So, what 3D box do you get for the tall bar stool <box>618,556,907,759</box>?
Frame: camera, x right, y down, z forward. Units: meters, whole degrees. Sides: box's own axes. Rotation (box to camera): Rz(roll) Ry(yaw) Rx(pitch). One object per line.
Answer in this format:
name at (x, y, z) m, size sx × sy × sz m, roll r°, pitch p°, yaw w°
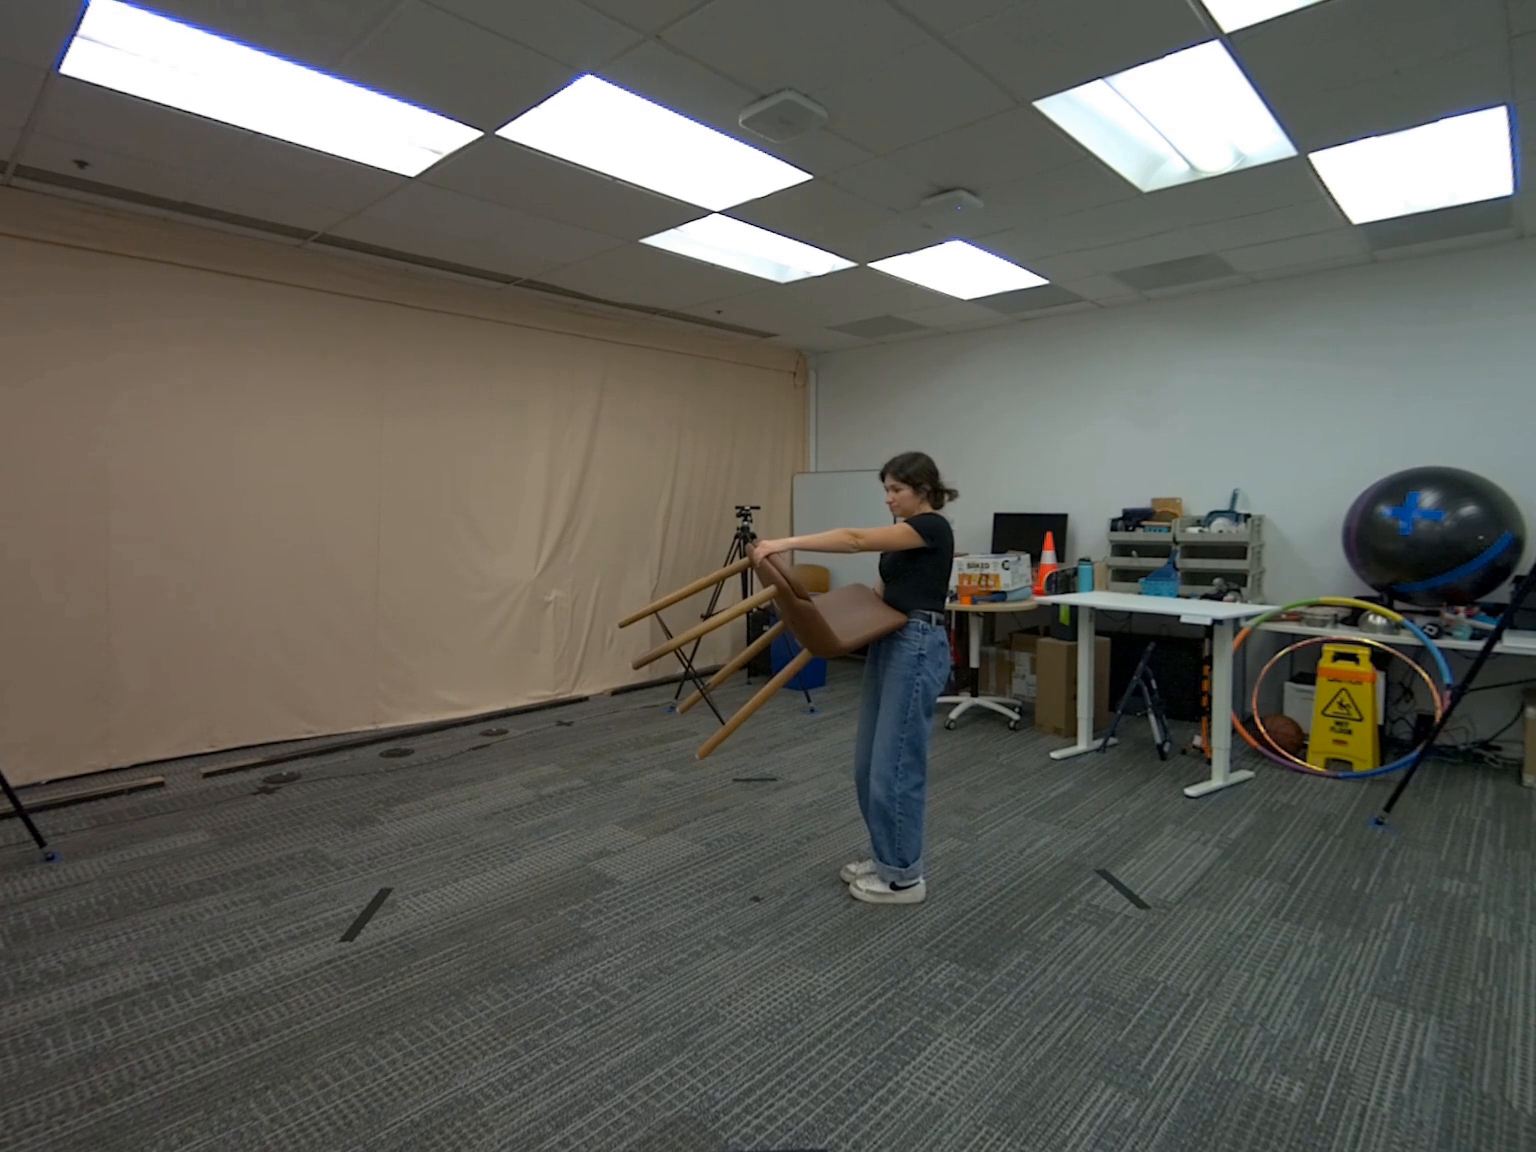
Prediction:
tall bar stool at (-0.026, 0.175, 2.972) m, size 0.888 × 0.458 × 0.467 m, roll -31°, pitch 20°, yaw -3°
